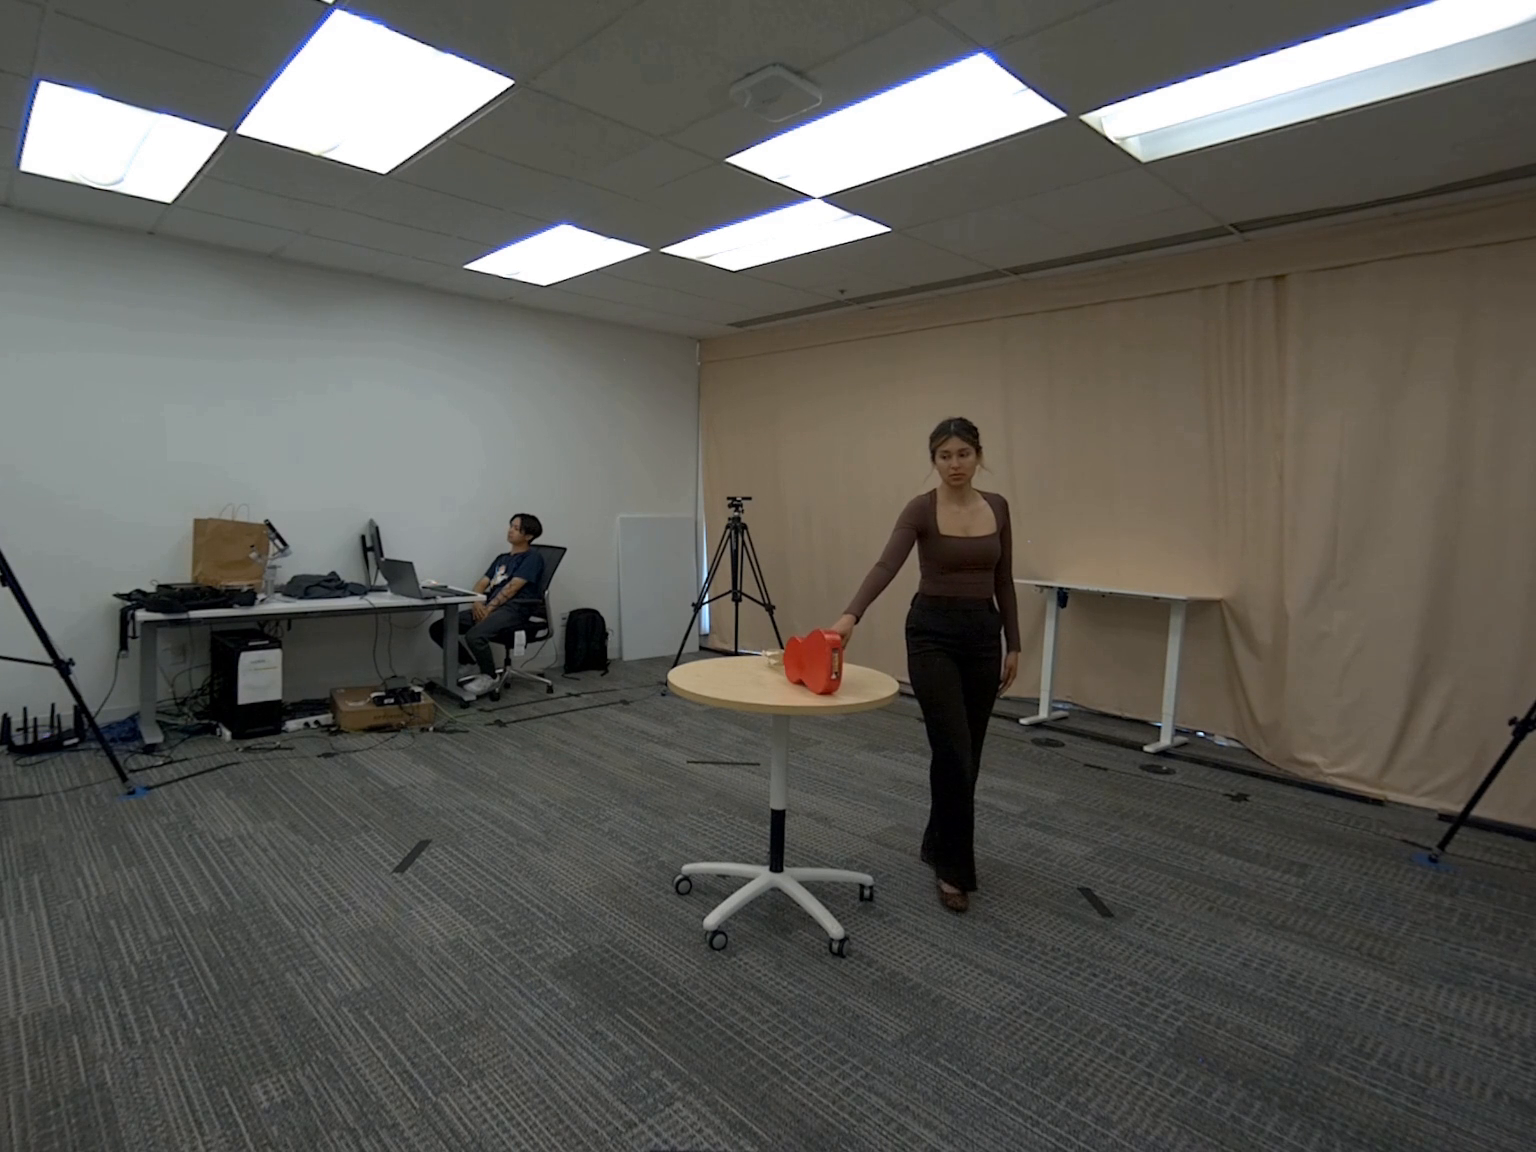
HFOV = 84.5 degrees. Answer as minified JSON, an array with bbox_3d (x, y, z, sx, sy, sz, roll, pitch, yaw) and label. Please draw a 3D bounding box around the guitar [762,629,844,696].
[{"bbox_3d":[0.090,0.304,2.766,0.069,0.195,0.502,5,-14,-25],"label":"guitar"}]
